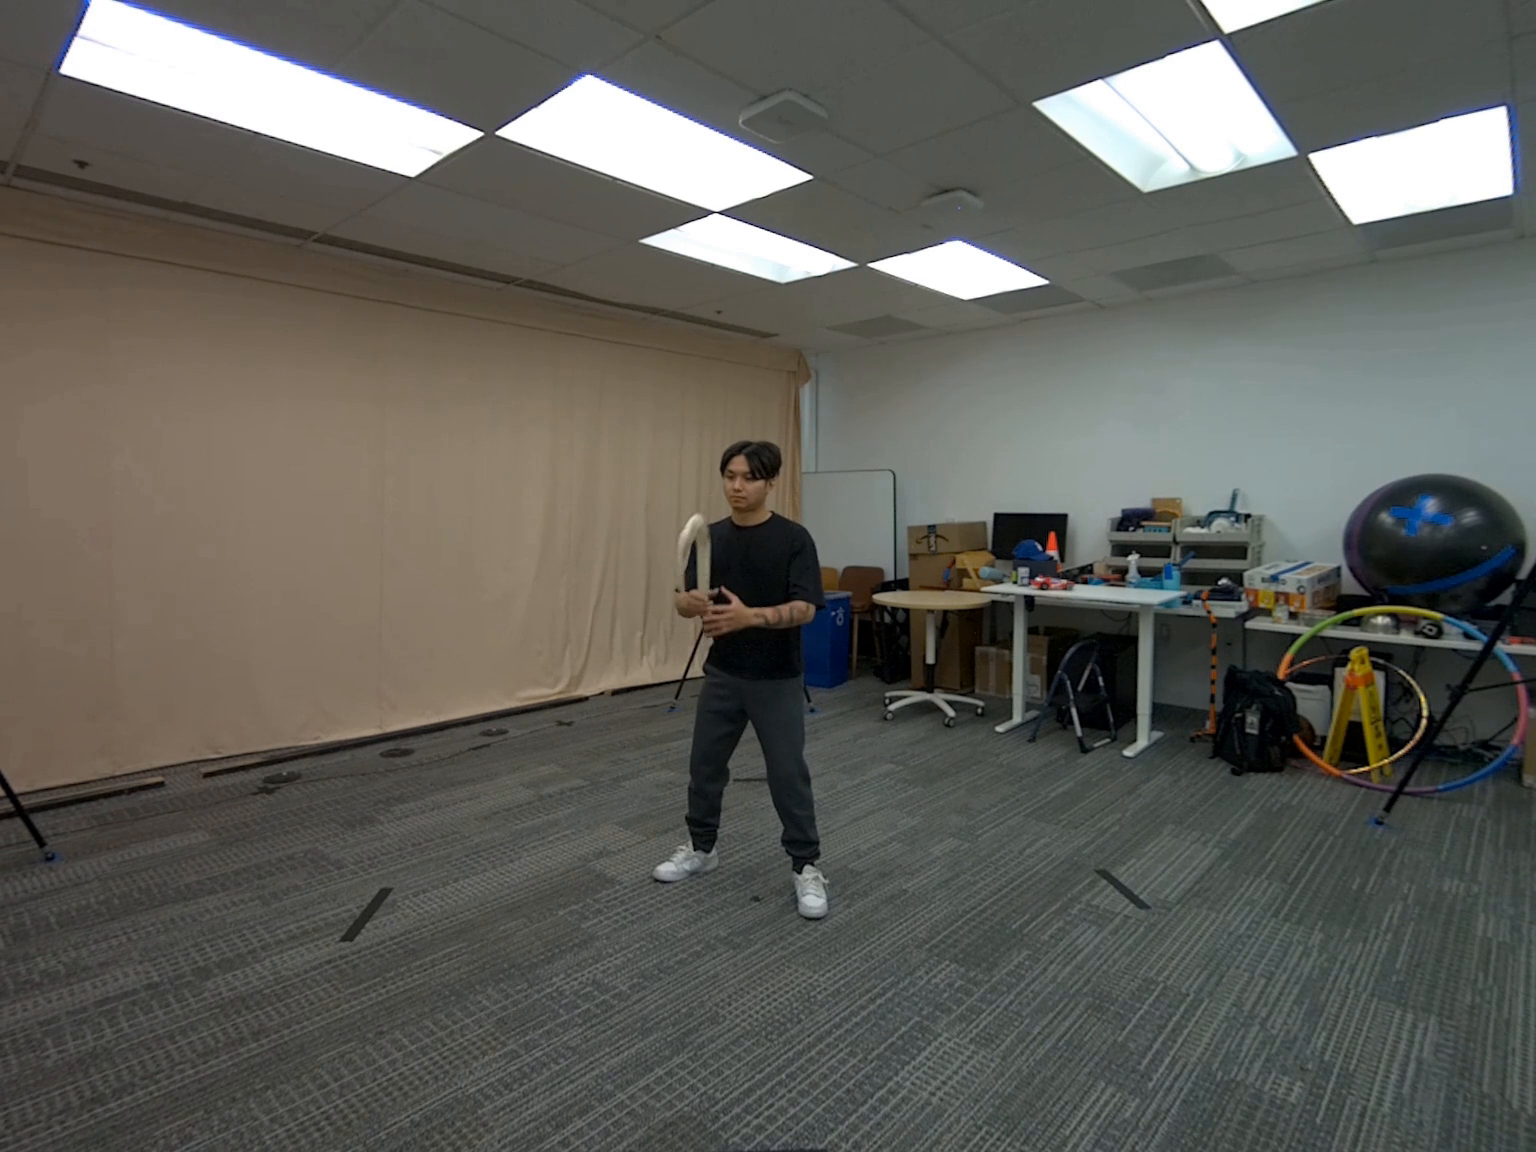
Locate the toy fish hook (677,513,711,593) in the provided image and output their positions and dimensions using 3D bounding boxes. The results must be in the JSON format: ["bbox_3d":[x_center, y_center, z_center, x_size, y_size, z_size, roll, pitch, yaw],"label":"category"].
[{"bbox_3d":[-0.230,0.074,2.671,0.049,0.496,0.224,13,43,19],"label":"toy fish hook"}]
